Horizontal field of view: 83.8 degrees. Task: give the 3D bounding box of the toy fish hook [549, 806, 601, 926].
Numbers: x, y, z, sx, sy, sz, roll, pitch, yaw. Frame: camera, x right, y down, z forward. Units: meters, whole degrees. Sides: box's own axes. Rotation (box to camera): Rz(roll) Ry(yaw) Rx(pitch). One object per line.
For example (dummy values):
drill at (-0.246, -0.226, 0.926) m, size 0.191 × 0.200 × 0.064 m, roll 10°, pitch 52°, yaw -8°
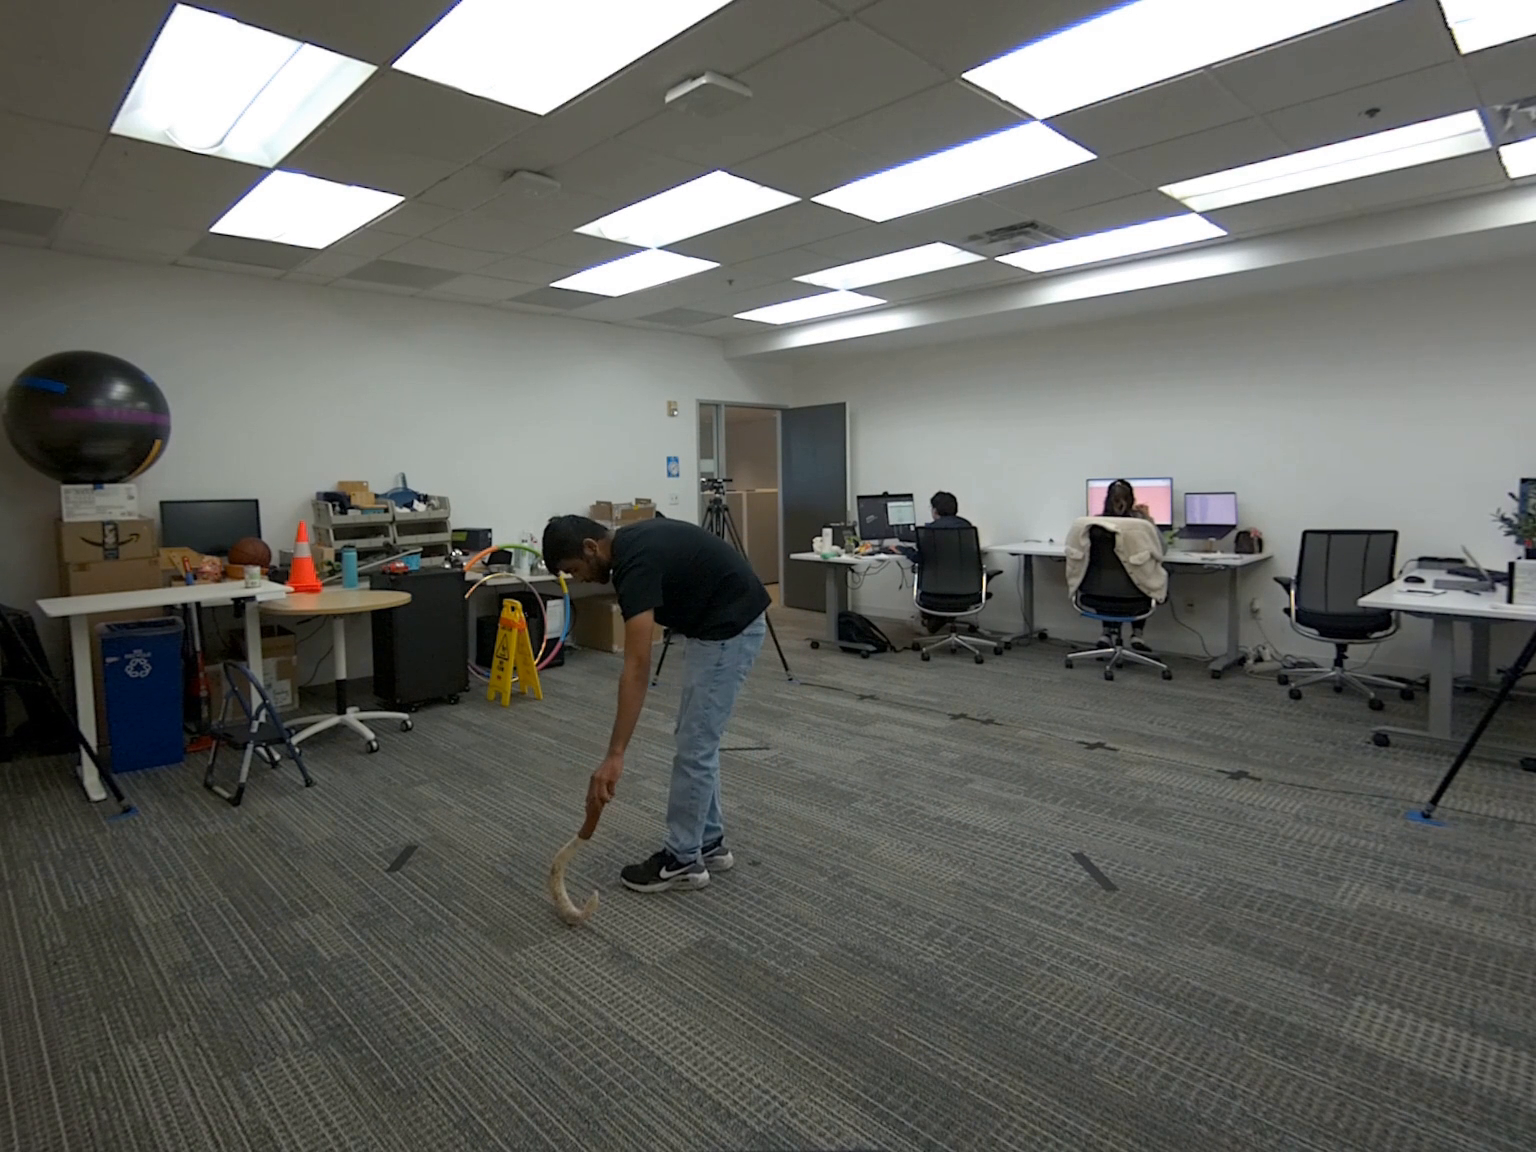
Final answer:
toy fish hook at (-0.554, 0.872, 2.641) m, size 0.232 × 0.502 × 0.047 m, roll 39°, pitch 27°, yaw 30°
